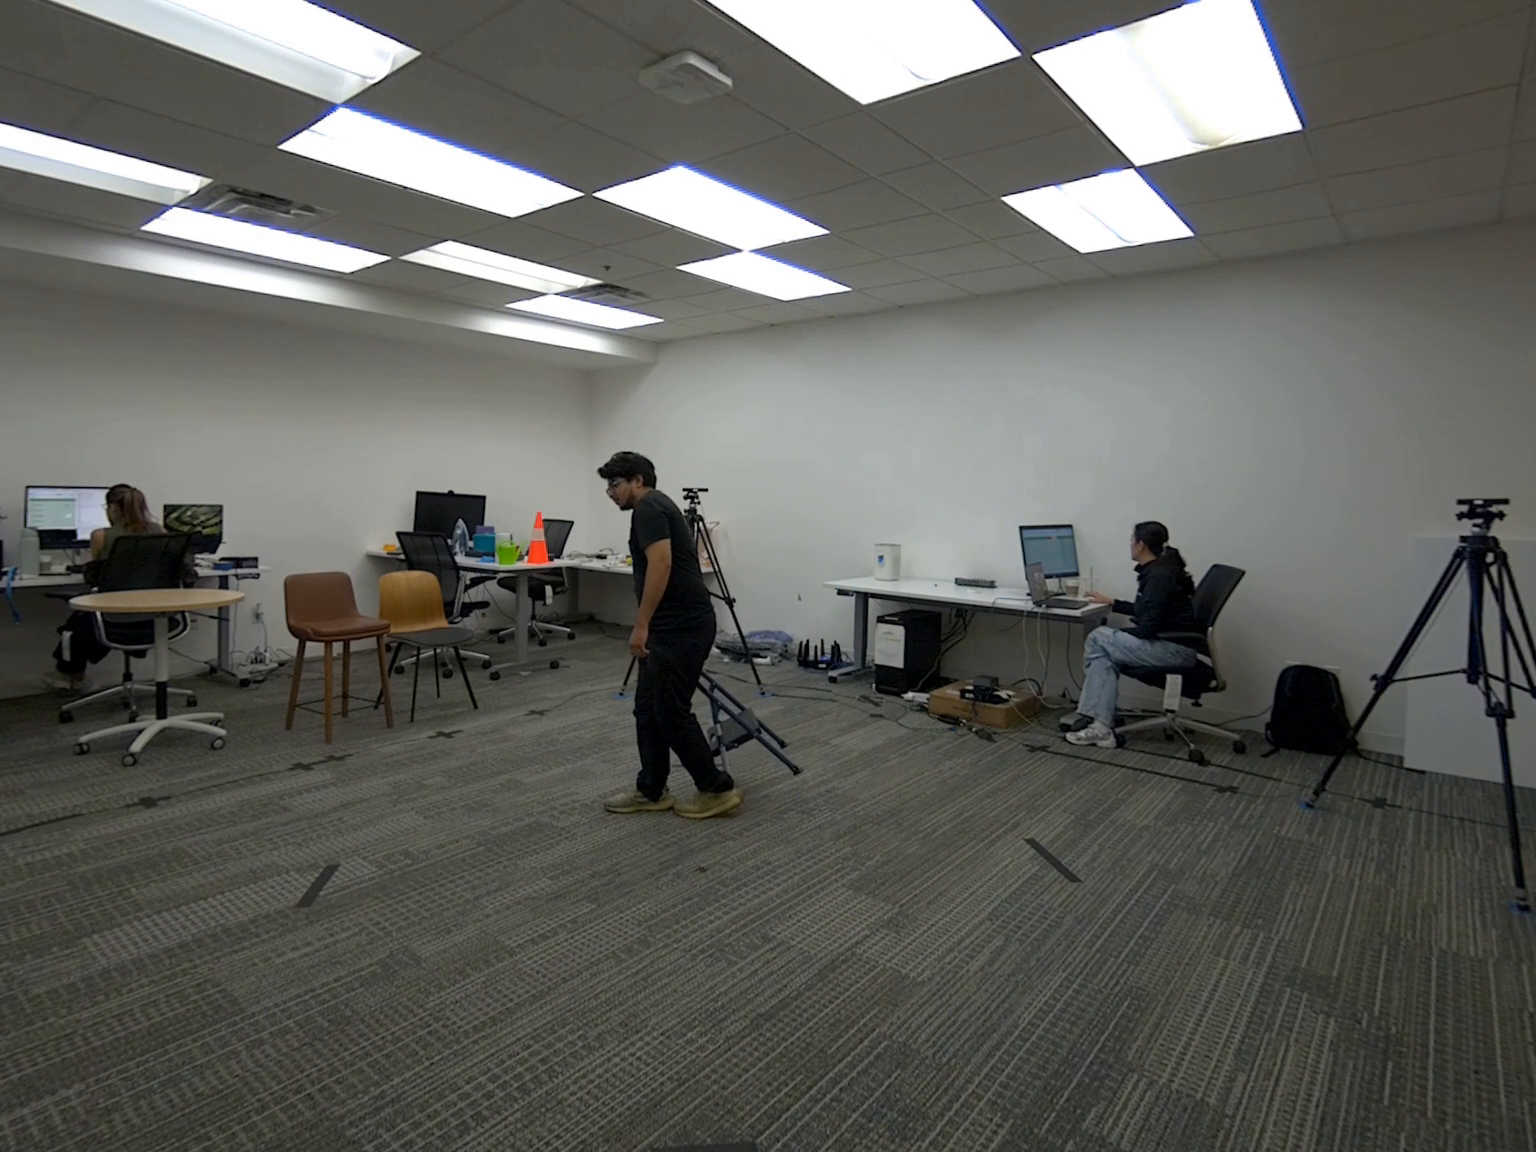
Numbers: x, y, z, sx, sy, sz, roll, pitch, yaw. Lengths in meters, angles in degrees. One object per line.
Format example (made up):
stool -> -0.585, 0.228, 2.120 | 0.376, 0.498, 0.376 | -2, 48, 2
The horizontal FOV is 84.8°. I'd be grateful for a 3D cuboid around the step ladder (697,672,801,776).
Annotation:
step ladder -> -0.174, 0.654, 3.930 | 0.349, 0.604, 0.433 | -27, 4, -3
